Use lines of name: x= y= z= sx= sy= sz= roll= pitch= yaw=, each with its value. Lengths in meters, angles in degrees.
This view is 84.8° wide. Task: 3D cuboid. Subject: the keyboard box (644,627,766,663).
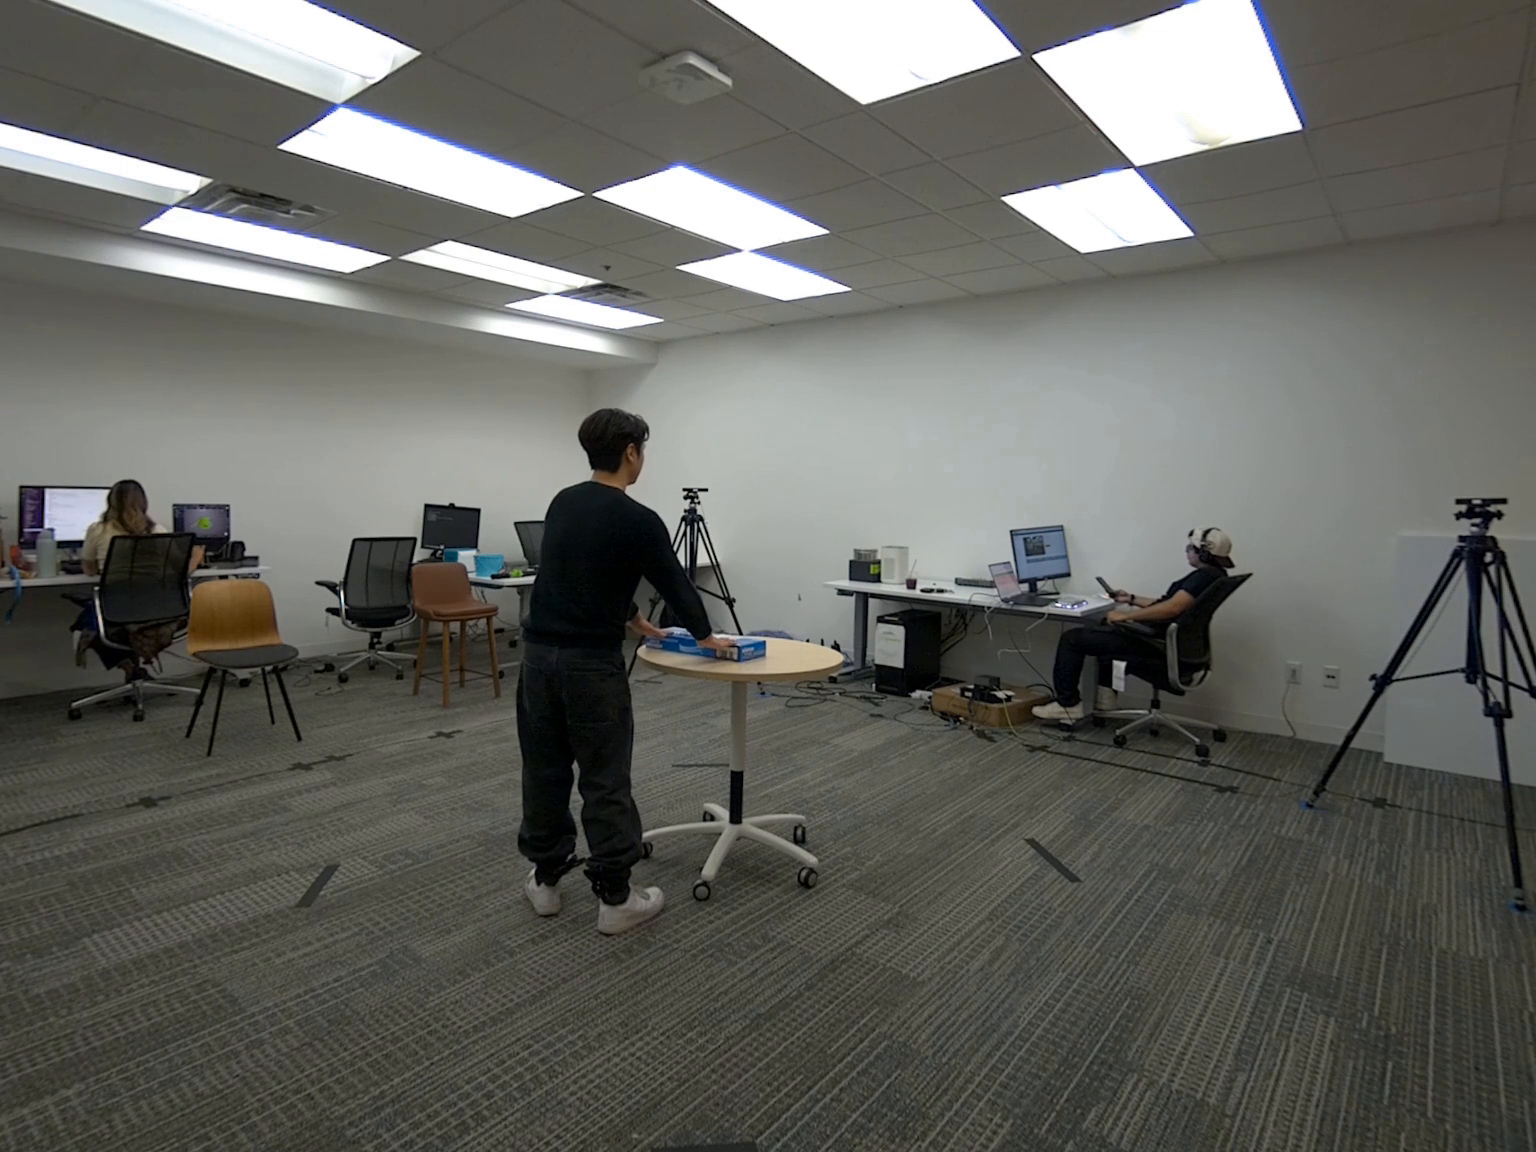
keyboard box: x=-0.243 y=0.250 z=3.182 sx=0.451 sy=0.059 sz=0.171 roll=6 pitch=6 yaw=35
